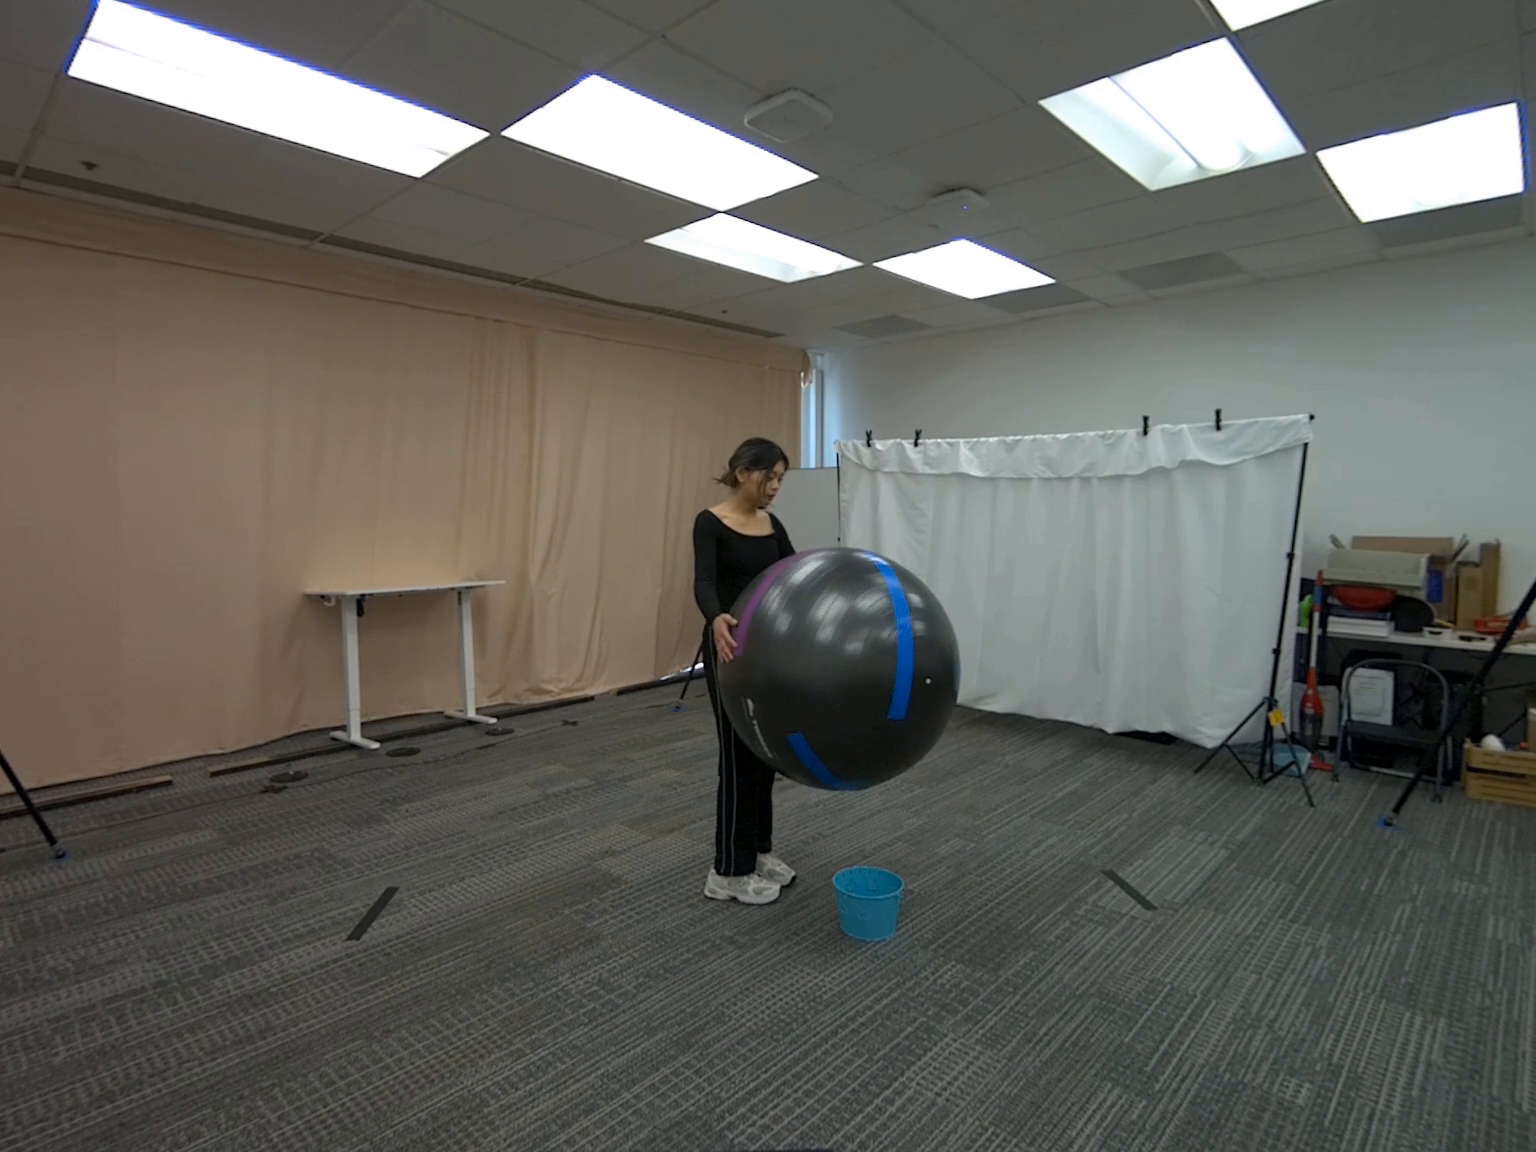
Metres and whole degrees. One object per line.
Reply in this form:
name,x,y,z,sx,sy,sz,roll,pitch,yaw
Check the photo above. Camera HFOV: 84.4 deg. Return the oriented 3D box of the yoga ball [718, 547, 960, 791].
yoga ball,0.228,0.292,2.663,0.757,0.756,0.760,0,4,-2
